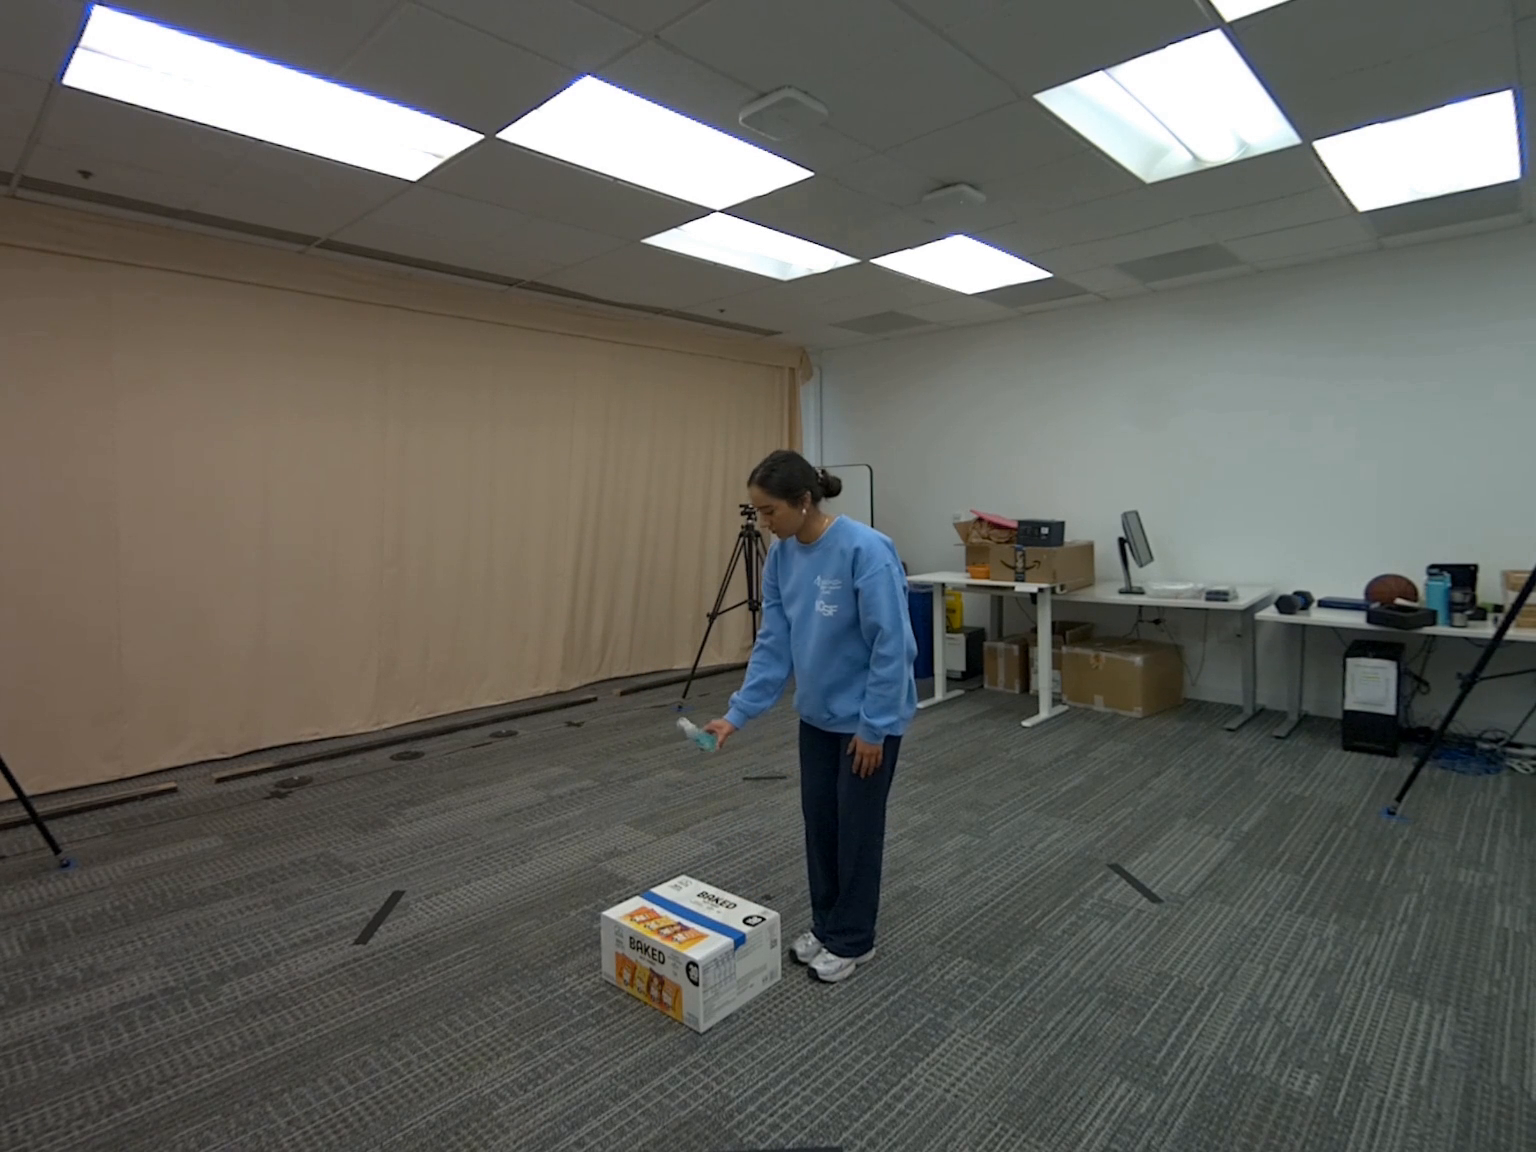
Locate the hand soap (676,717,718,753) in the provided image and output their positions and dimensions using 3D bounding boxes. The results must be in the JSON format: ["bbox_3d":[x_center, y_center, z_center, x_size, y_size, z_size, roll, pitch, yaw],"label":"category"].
[{"bbox_3d":[-0.202,0.487,2.514,0.087,0.043,0.162,4,-33,39],"label":"hand soap"}]
